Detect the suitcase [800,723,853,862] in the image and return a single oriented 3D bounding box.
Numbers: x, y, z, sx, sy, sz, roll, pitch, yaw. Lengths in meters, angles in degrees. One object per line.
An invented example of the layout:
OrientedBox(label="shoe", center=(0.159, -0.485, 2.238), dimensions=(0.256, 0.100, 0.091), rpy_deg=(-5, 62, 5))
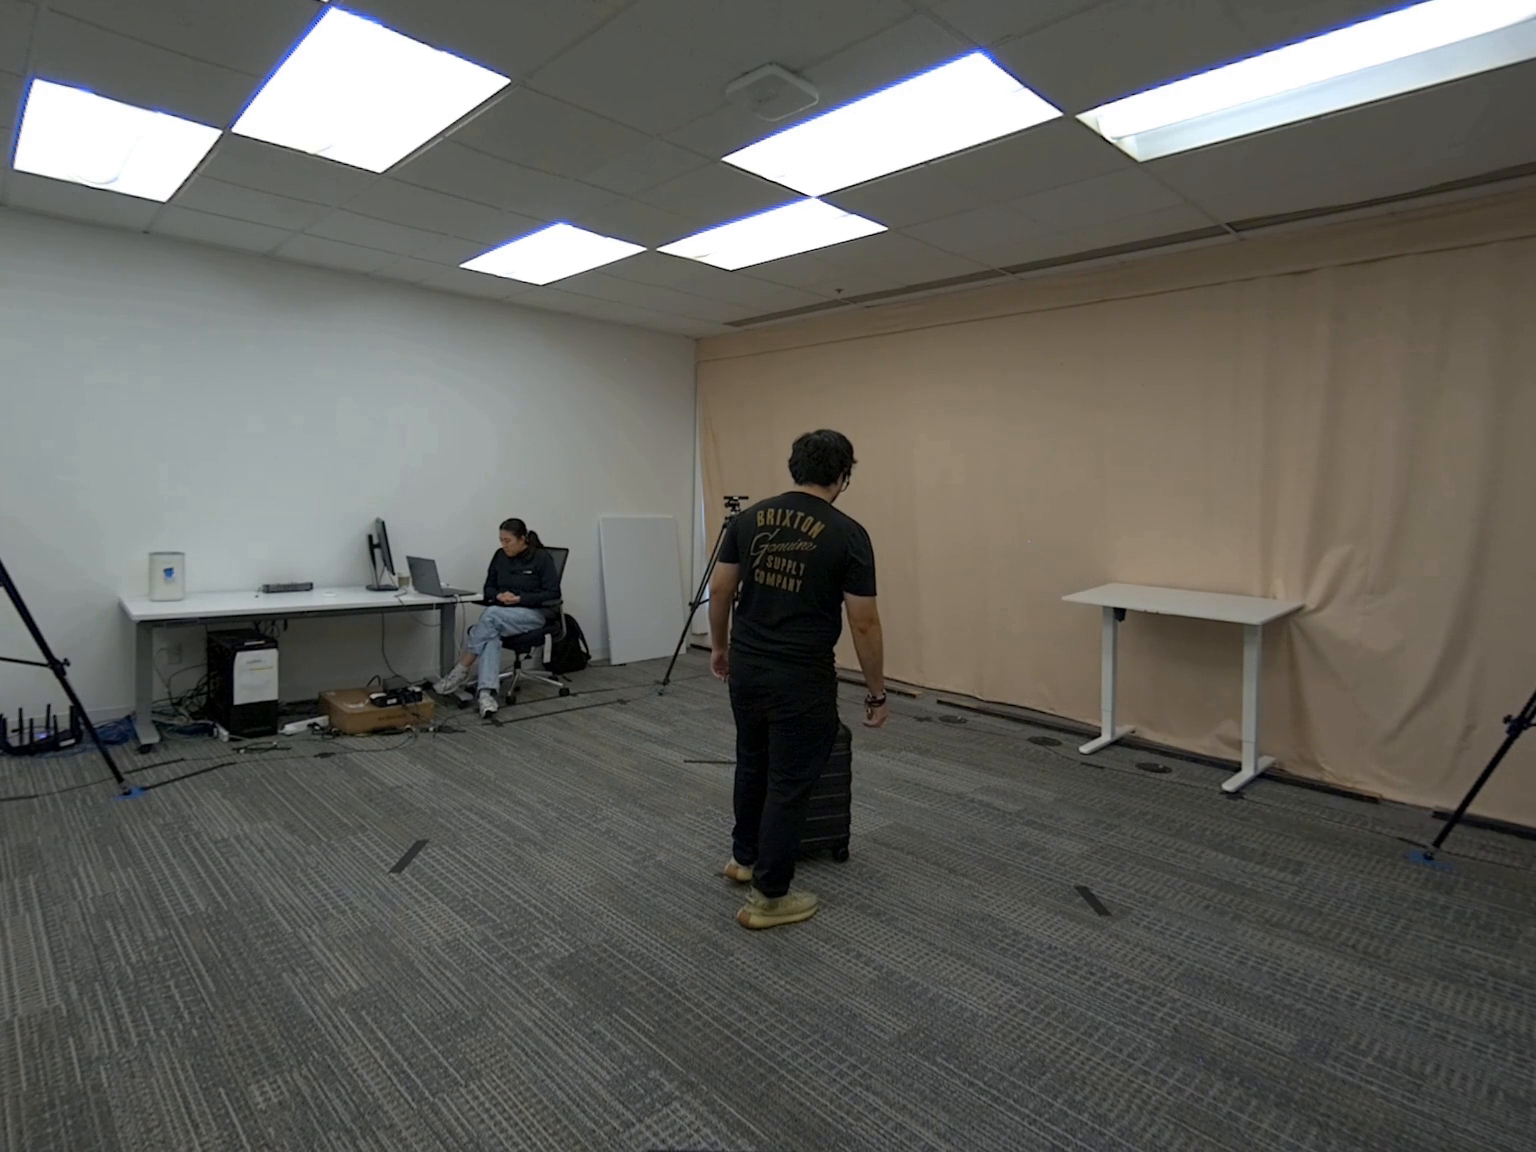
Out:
OrientedBox(label="suitcase", center=(0.138, 0.614, 3.282), dimensions=(0.378, 0.976, 0.261), rpy_deg=(1, 4, -20))
